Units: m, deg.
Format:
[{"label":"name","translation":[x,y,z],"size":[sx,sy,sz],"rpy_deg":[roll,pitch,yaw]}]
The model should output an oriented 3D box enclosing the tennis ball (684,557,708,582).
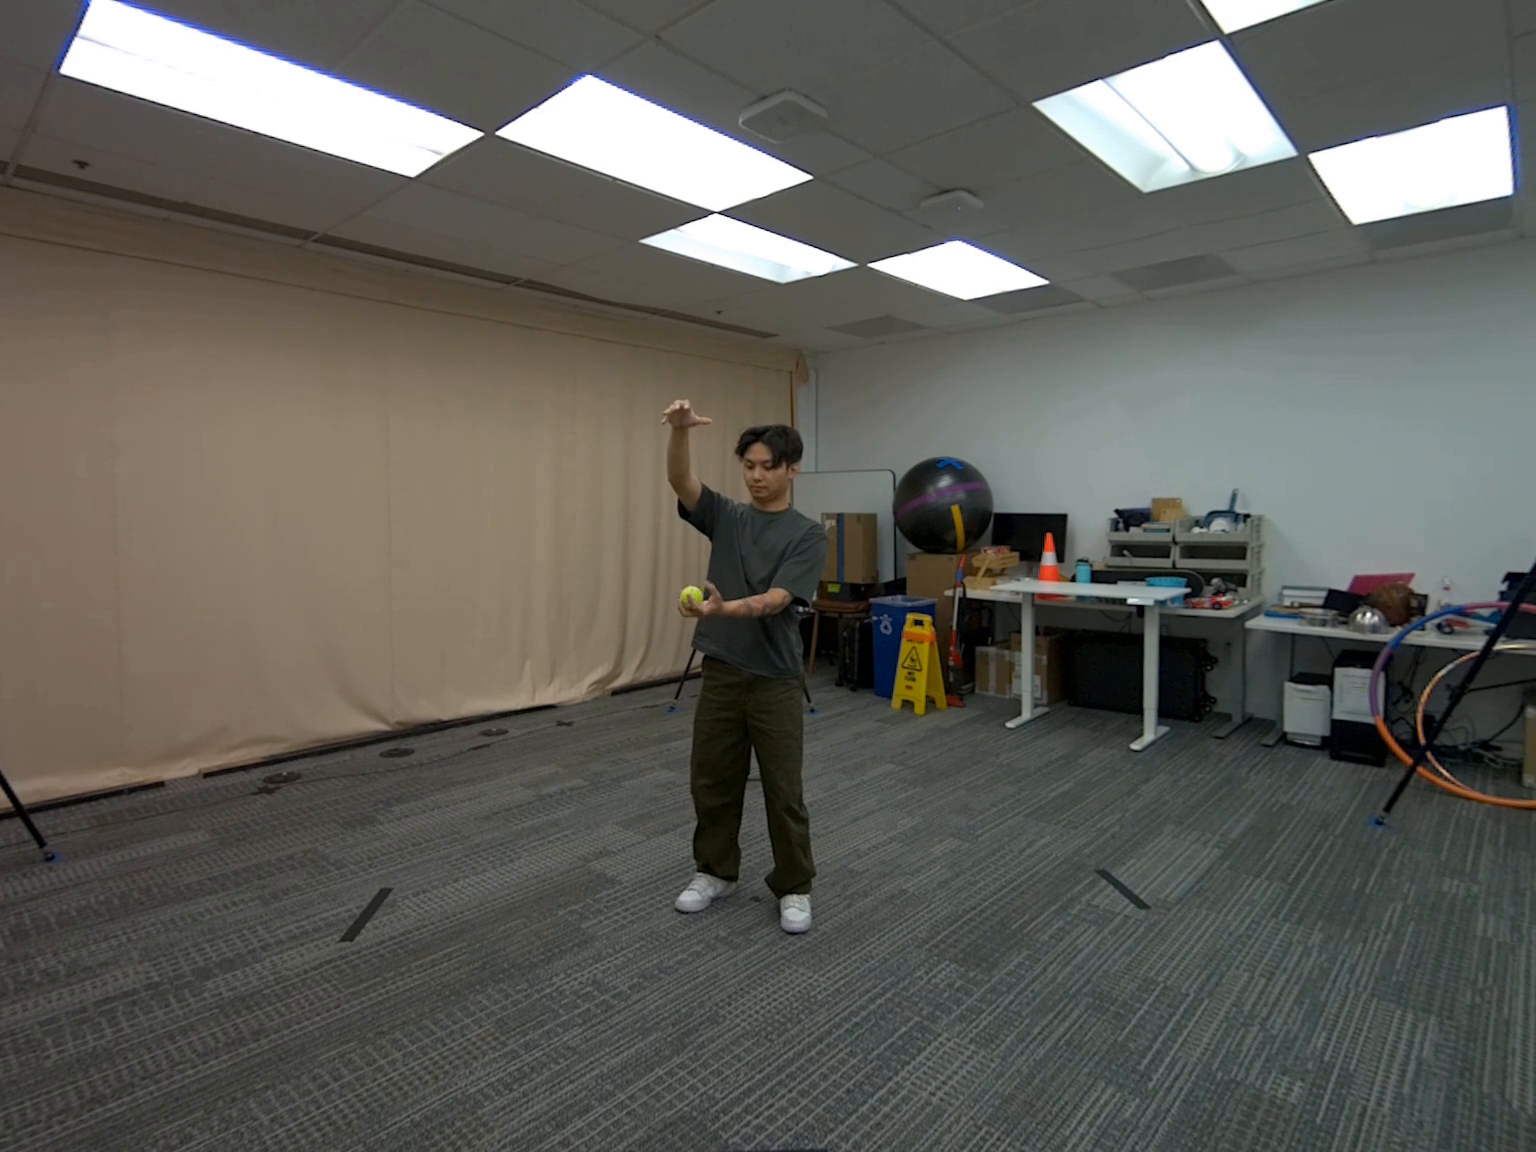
[{"label":"tennis ball","translation":[-0.212,-0.021,2.479],"size":[0.066,0.066,0.067],"rpy_deg":[0,4,-2]}]
